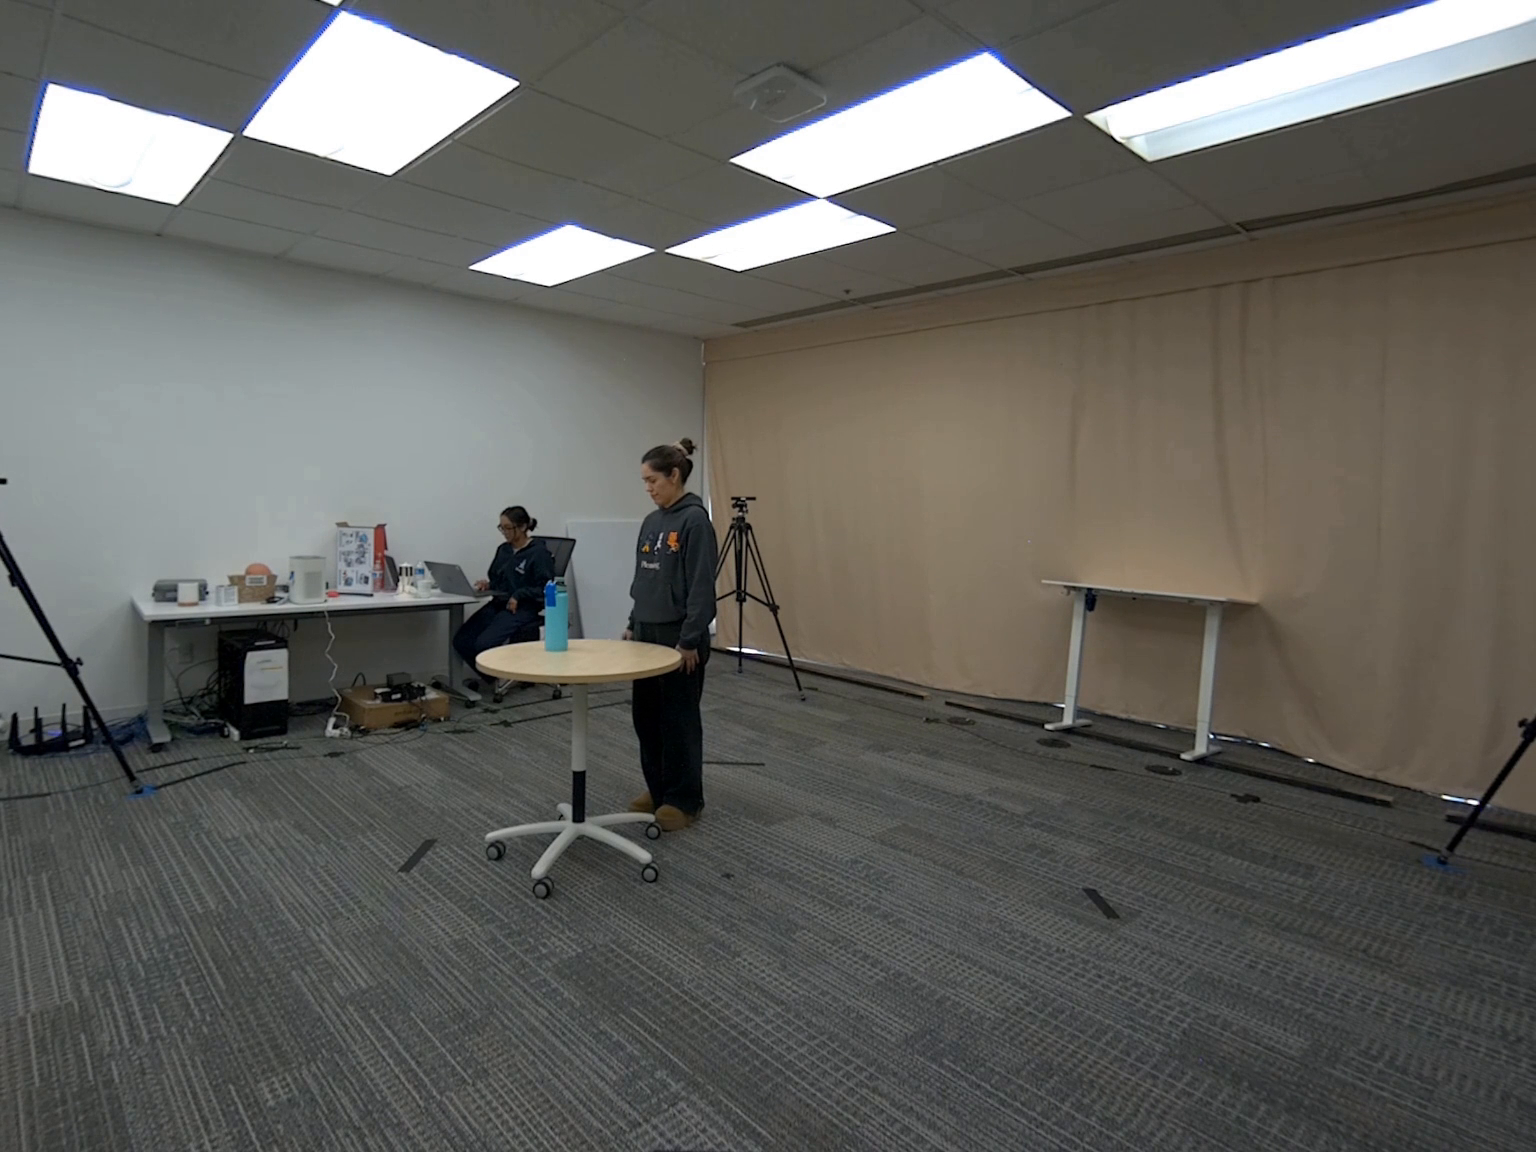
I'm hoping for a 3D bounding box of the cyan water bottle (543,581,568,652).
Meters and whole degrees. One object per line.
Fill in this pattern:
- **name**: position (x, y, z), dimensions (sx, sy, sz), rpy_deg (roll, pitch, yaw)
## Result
- **cyan water bottle**: position (-0.844, 0.150, 3.307), dimensions (0.092, 0.282, 0.093), rpy_deg (3, 4, -2)
